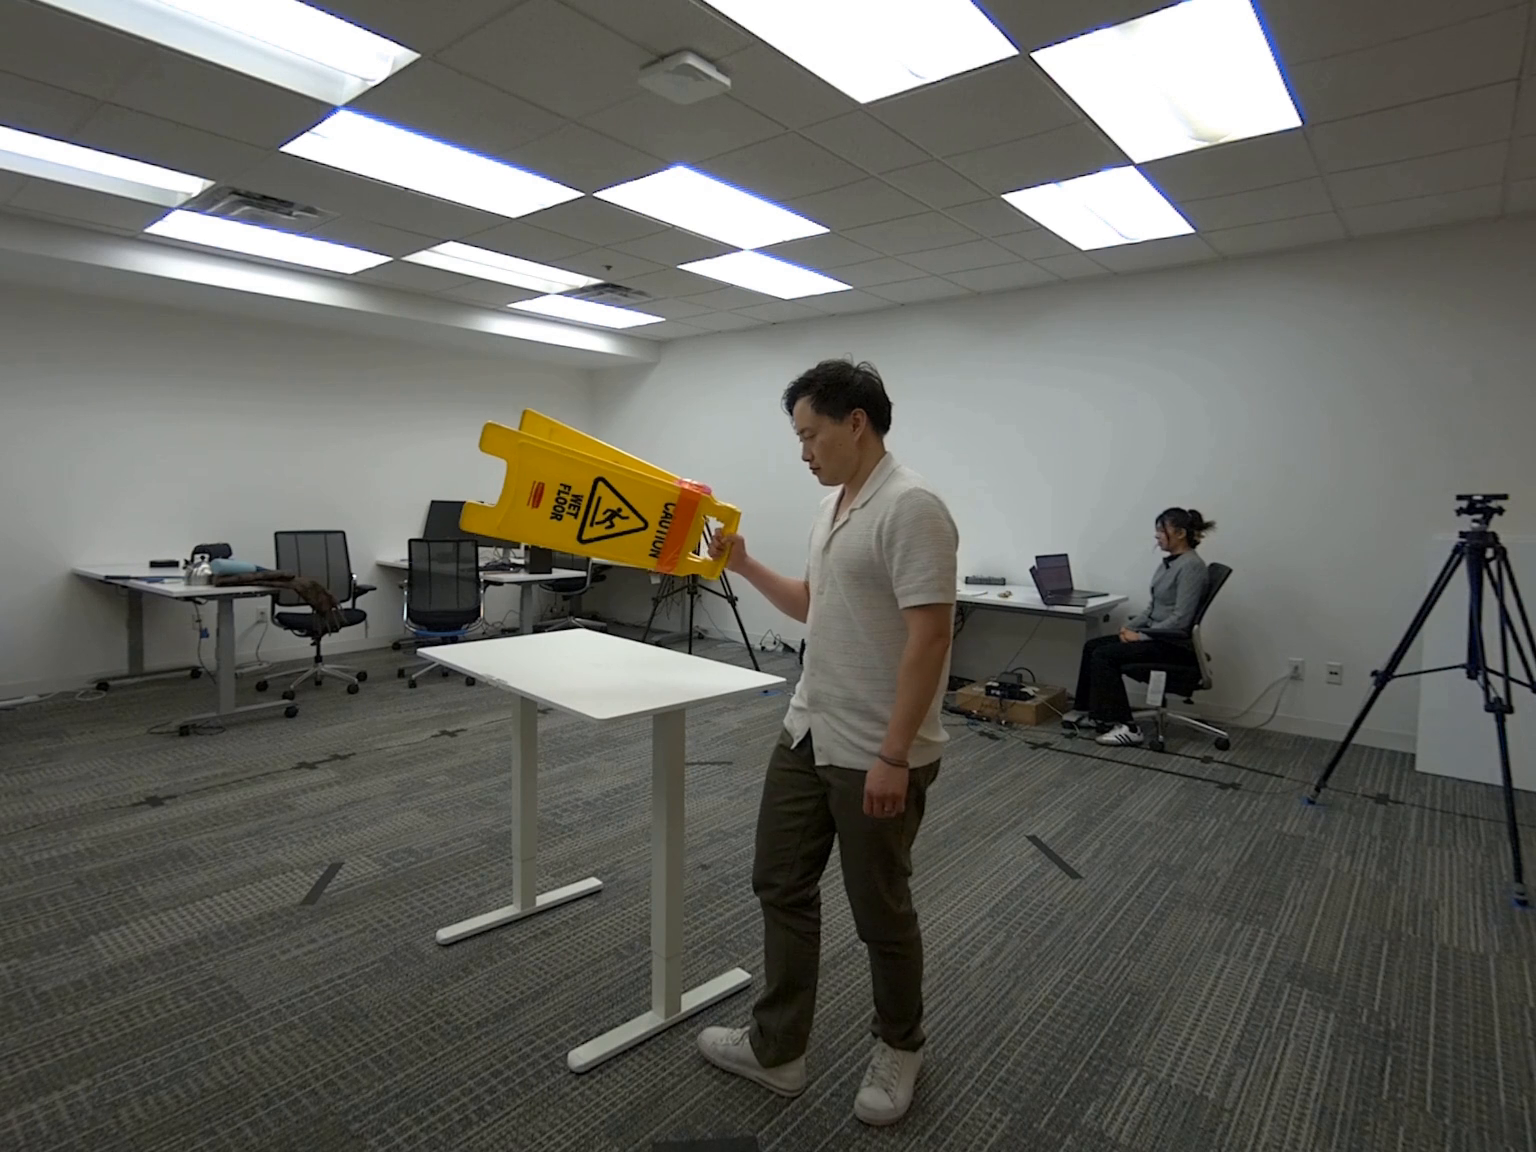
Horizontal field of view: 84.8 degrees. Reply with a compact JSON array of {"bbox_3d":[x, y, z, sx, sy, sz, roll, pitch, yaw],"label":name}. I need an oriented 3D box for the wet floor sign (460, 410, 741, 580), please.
[{"bbox_3d":[-0.405,-0.181,2.173,0.646,0.279,0.293,19,17,-1],"label":"wet floor sign"}]
